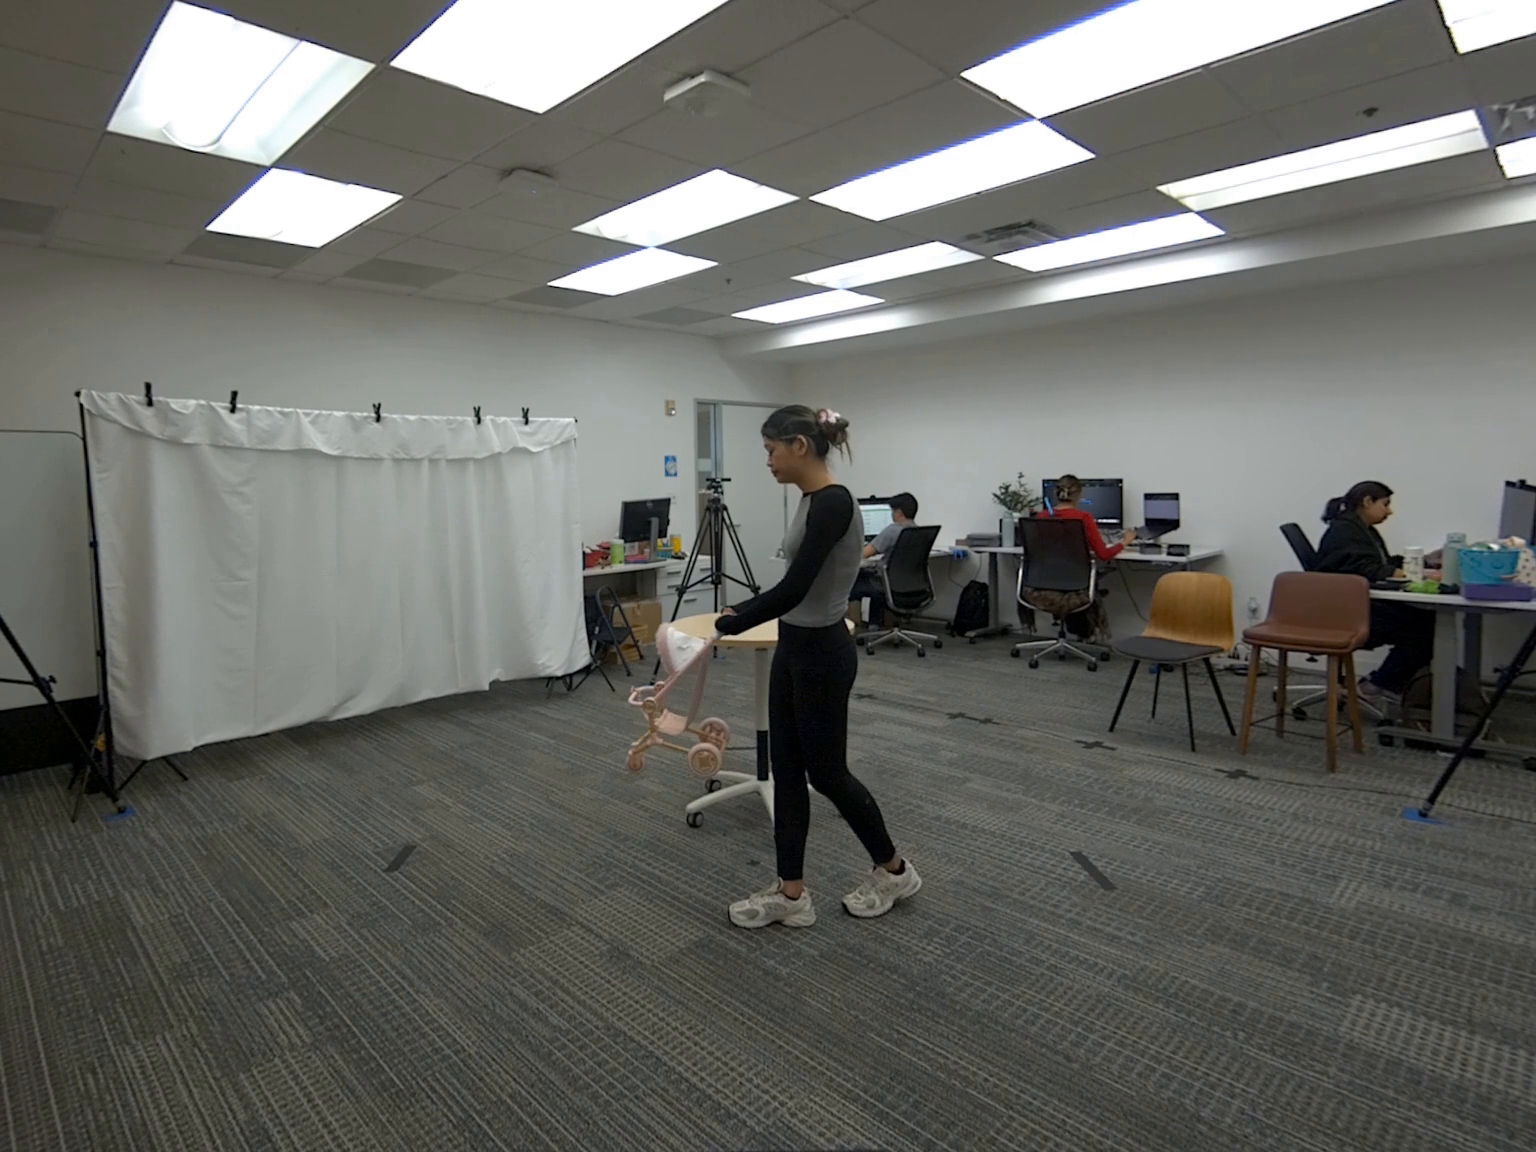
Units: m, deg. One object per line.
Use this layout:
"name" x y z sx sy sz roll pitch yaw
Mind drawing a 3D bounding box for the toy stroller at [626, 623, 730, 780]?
"toy stroller" -0.289 0.385 2.745 0.345 0.532 0.280 2 7 11
